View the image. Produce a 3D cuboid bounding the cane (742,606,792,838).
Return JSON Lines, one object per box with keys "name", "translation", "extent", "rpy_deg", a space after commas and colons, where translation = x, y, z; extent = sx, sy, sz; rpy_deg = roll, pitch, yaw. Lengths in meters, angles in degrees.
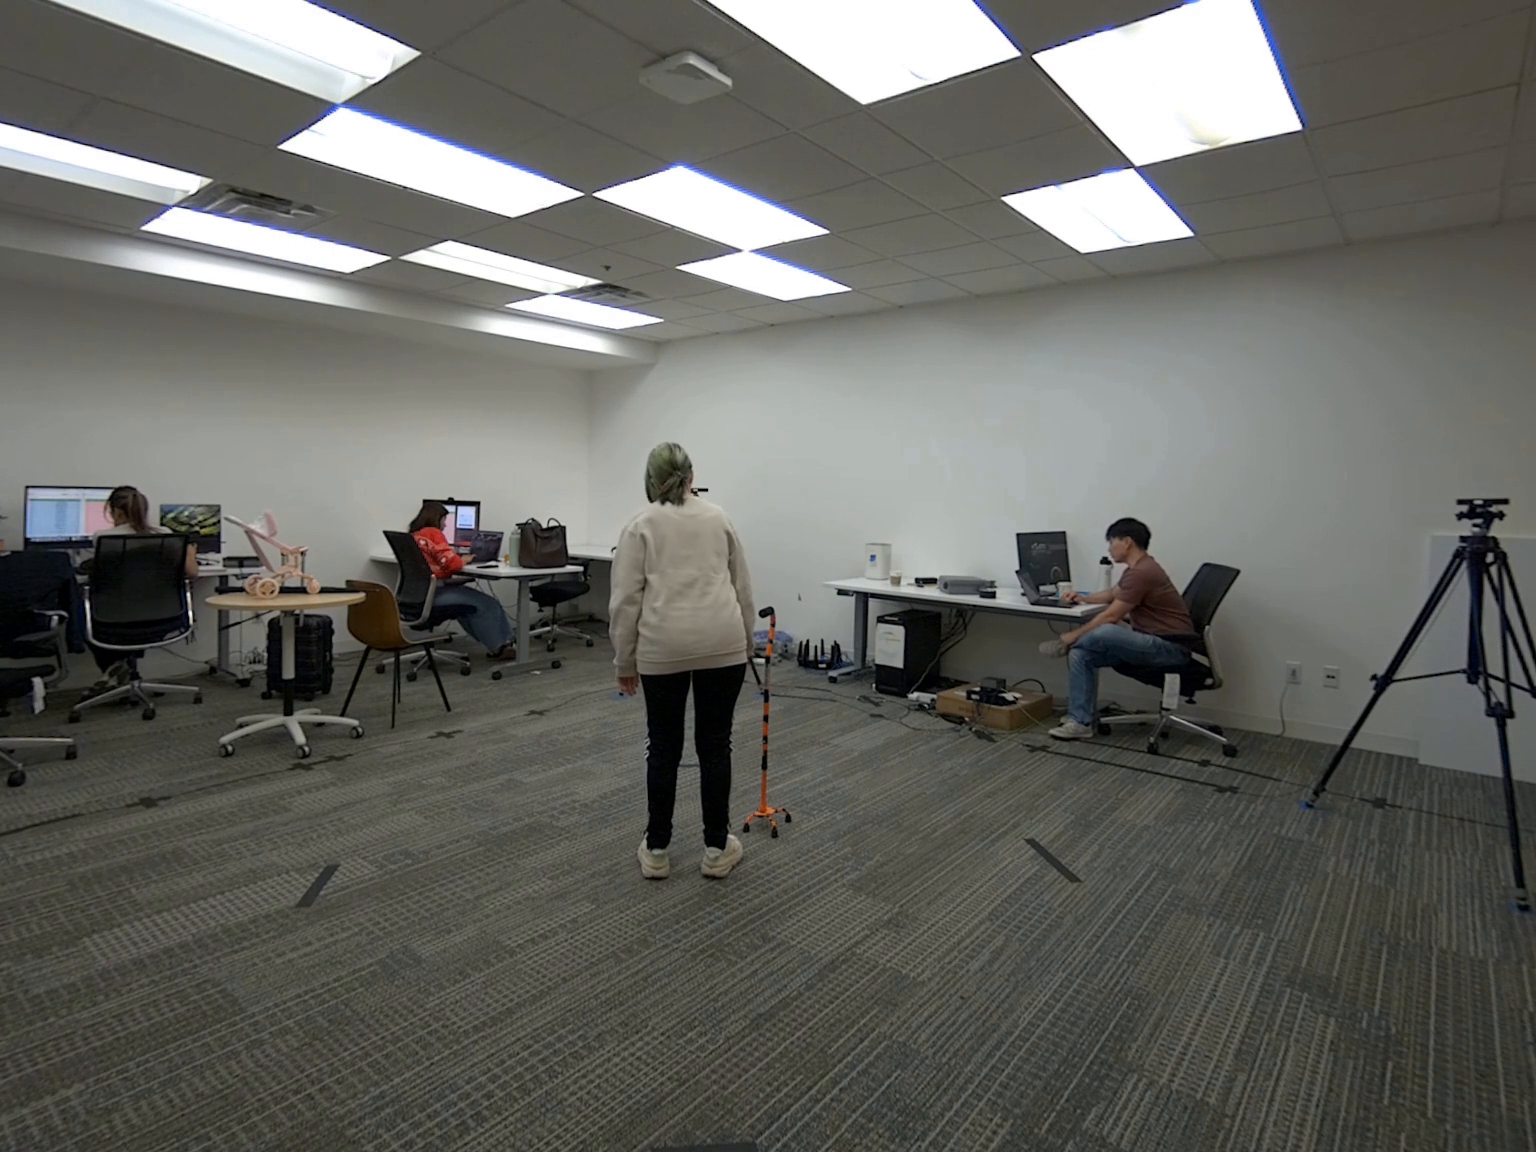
{"name": "cane", "translation": [-0.005, 0.579, 3.504], "extent": [0.155, 0.906, 0.202], "rpy_deg": [1, 2, 21]}
